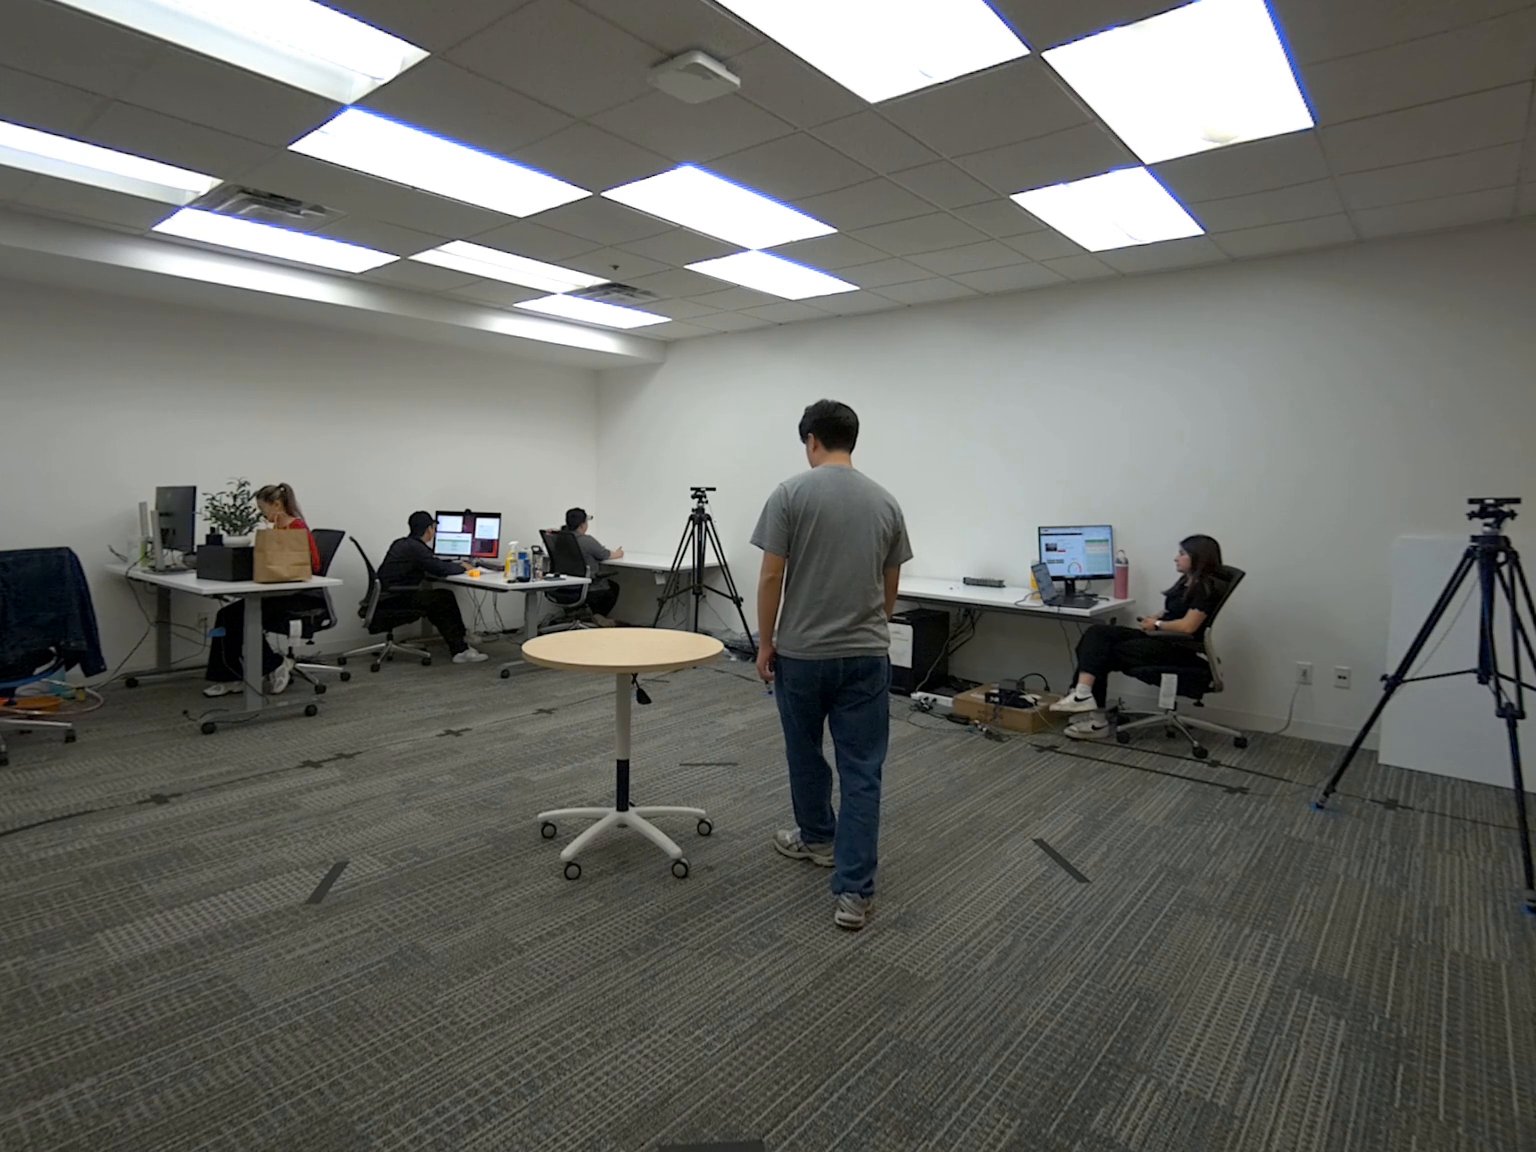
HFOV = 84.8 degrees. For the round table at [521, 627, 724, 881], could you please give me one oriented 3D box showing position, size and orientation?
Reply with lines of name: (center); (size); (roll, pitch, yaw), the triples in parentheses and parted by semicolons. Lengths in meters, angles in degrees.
round table: (-0.571, 0.655, 3.275); (0.763, 0.791, 0.767); (1, 4, -2)
